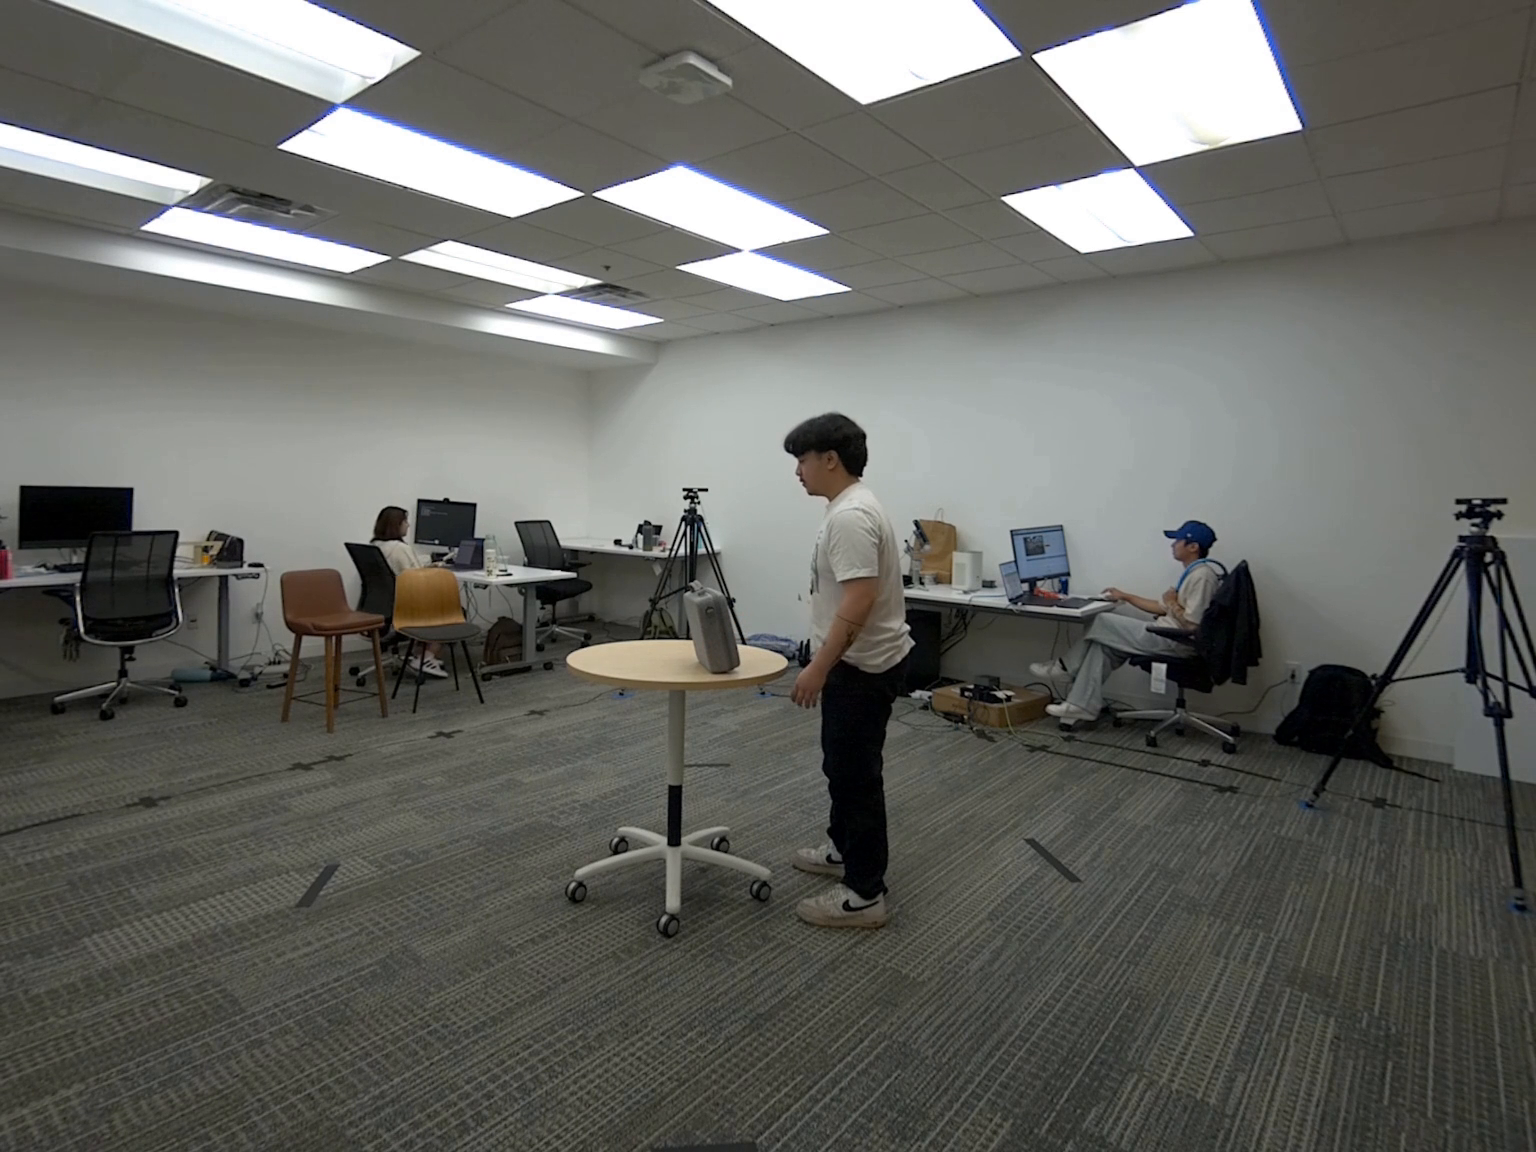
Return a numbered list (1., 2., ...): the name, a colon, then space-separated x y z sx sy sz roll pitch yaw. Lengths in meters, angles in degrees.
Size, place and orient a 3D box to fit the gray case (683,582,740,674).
1. gray case: -0.205 0.162 2.809 0.103 0.259 0.262 -13 7 -14
